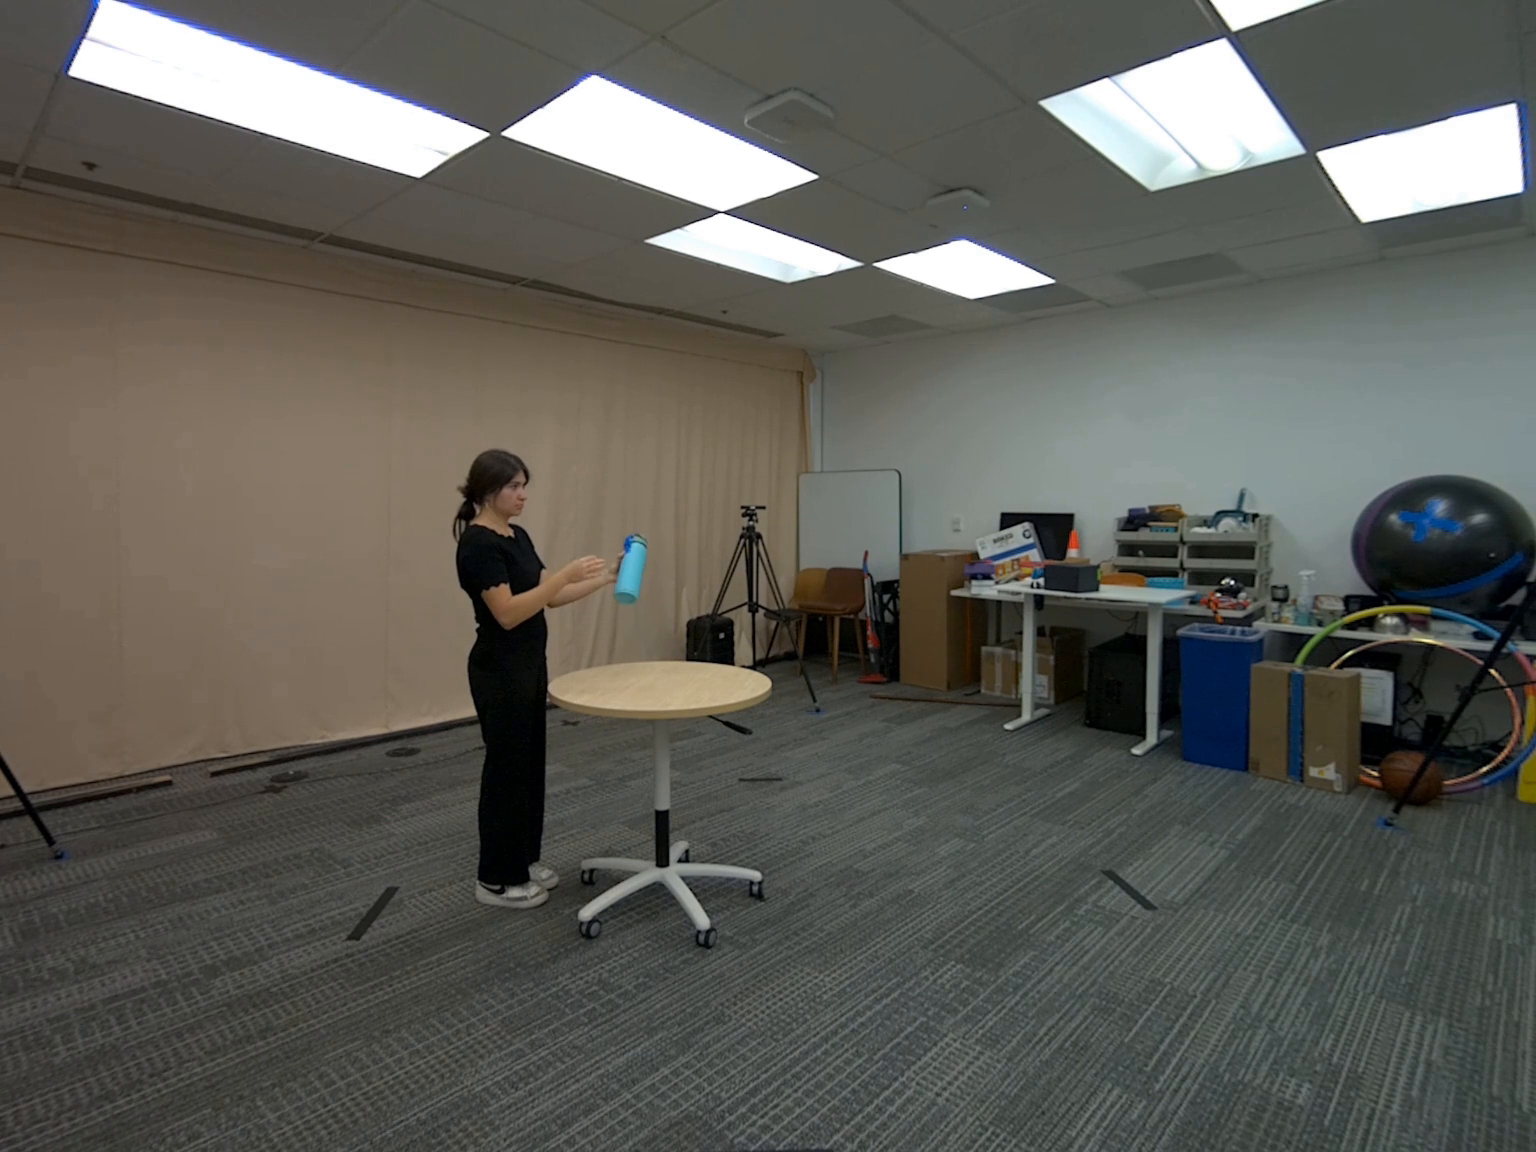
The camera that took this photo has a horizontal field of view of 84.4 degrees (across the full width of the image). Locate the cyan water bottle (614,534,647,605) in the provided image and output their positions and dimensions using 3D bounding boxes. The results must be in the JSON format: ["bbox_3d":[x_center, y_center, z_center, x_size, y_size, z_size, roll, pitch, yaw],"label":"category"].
[{"bbox_3d":[-0.513,-0.031,3.160,0.092,0.287,0.091,5,-34,1],"label":"cyan water bottle"}]
